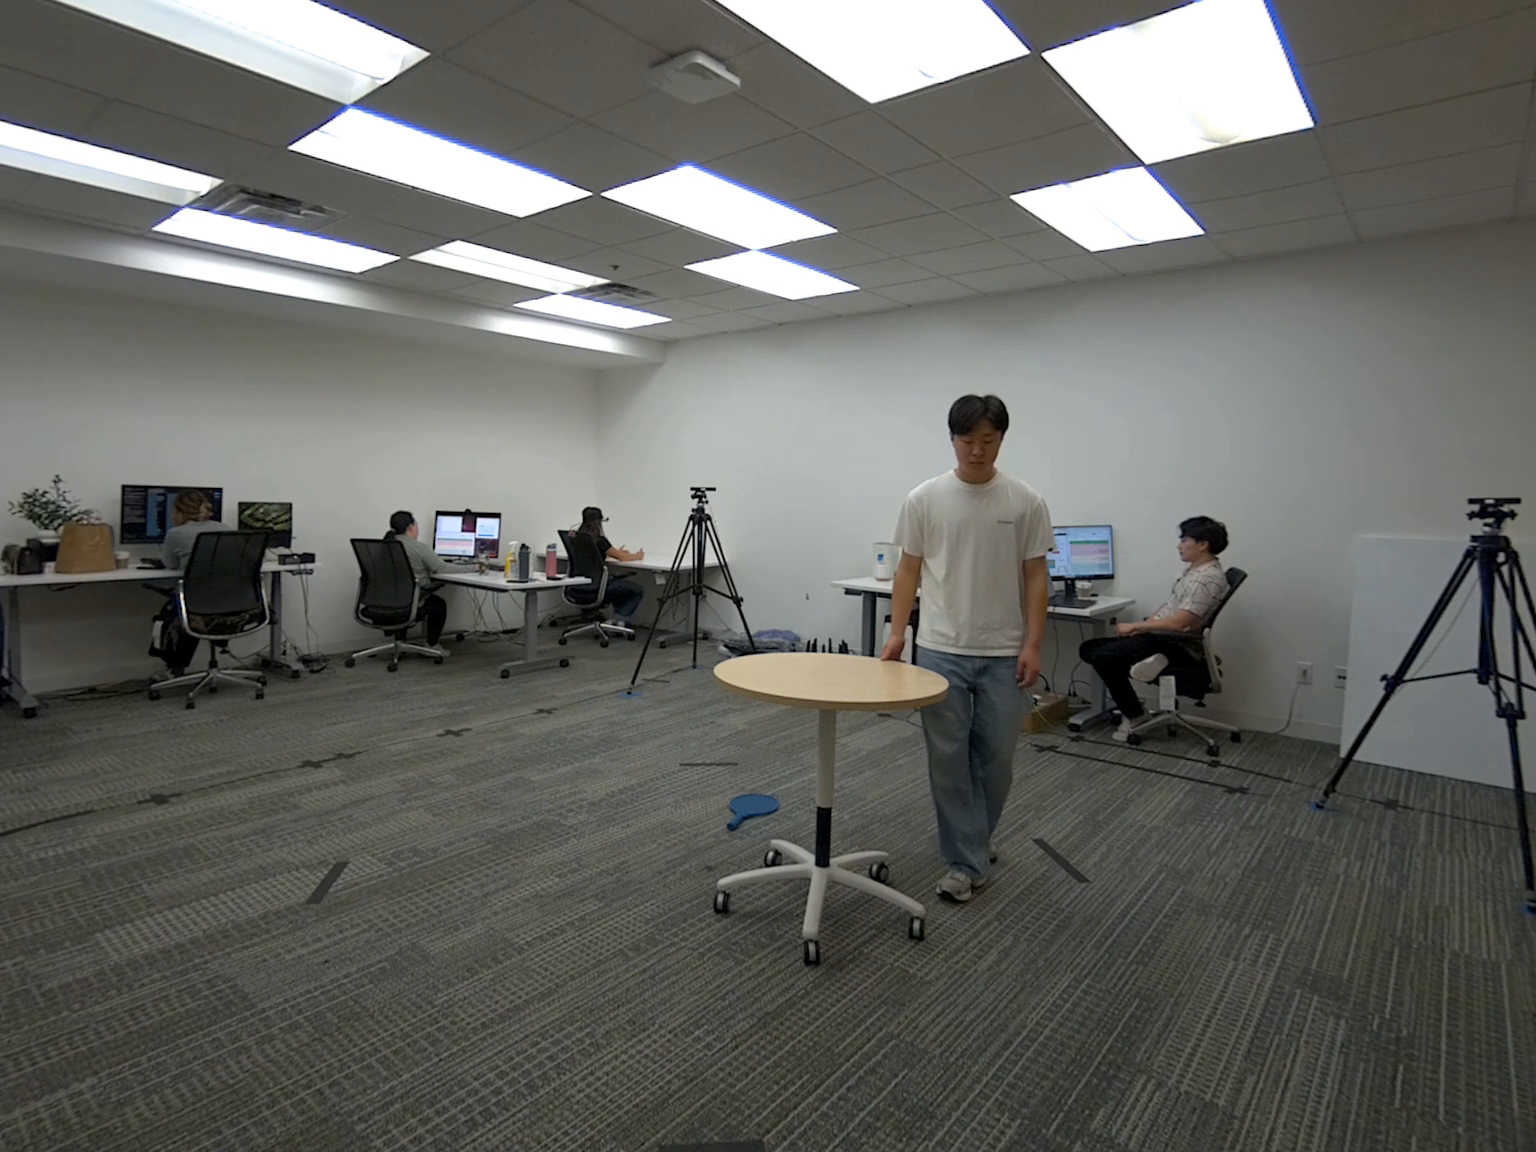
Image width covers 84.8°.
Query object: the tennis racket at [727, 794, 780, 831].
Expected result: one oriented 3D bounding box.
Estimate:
[{"bbox_3d":[-0.098,1.000,3.651,0.218,0.032,0.424,2,4,20],"label":"tennis racket"}]
